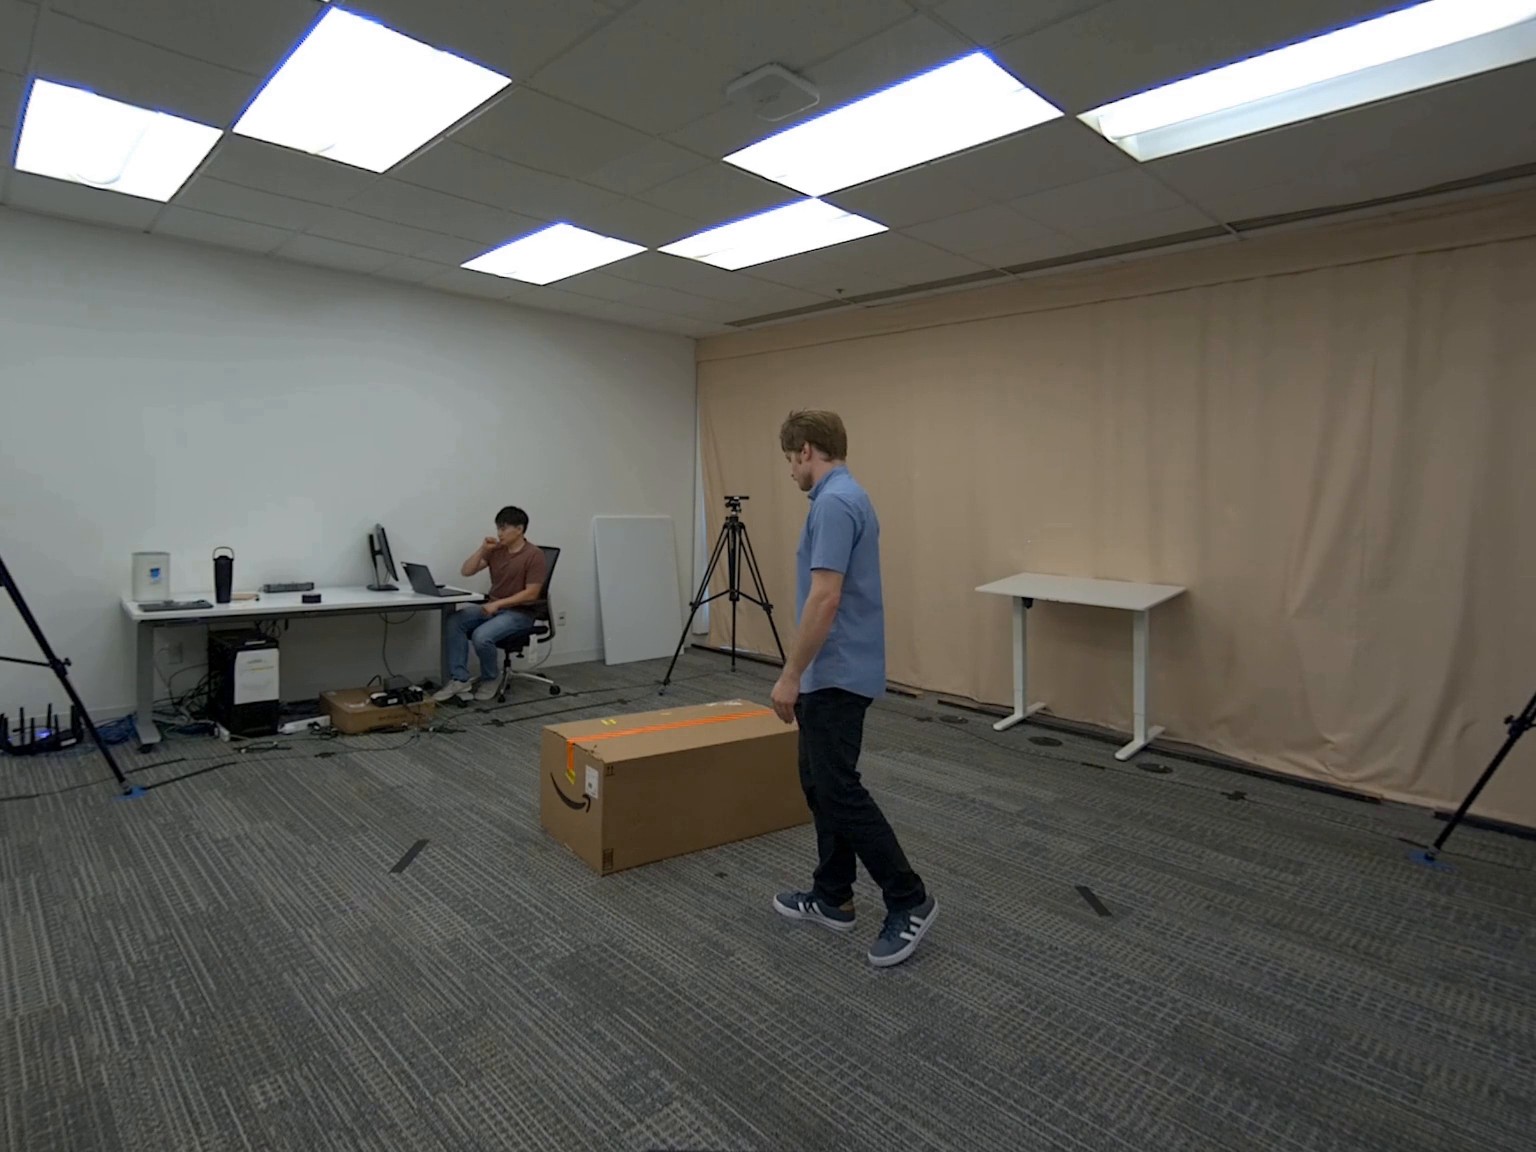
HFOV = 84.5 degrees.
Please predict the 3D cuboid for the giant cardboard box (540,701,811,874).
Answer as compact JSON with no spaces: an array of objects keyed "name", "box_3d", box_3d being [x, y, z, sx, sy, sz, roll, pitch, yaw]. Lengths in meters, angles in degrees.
[{"name":"giant cardboard box","box_3d":[-0.380,0.845,3.575,1.004,0.445,0.599,-1,6,-36]}]
